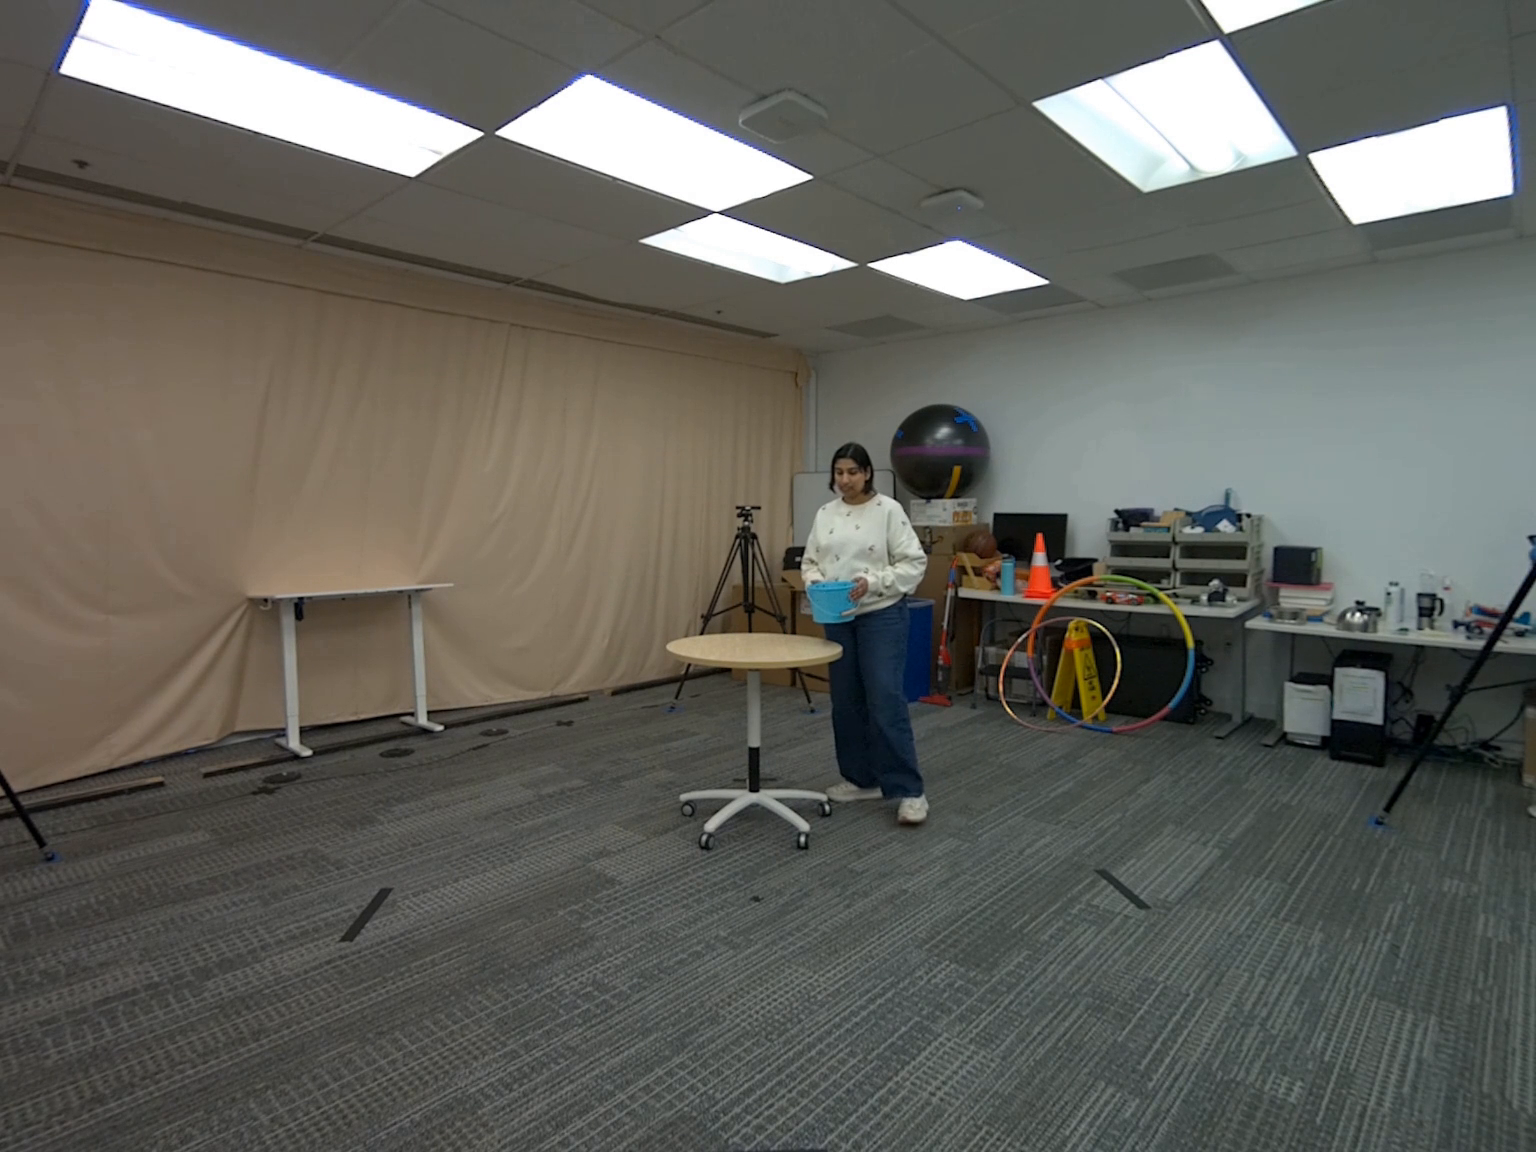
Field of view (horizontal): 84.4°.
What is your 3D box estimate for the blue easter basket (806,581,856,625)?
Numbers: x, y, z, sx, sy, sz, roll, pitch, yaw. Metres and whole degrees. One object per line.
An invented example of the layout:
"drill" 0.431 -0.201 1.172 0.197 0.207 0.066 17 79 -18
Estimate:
"blue easter basket" 0.293 0.117 3.723 0.243 0.155 0.244 -3 4 -2
